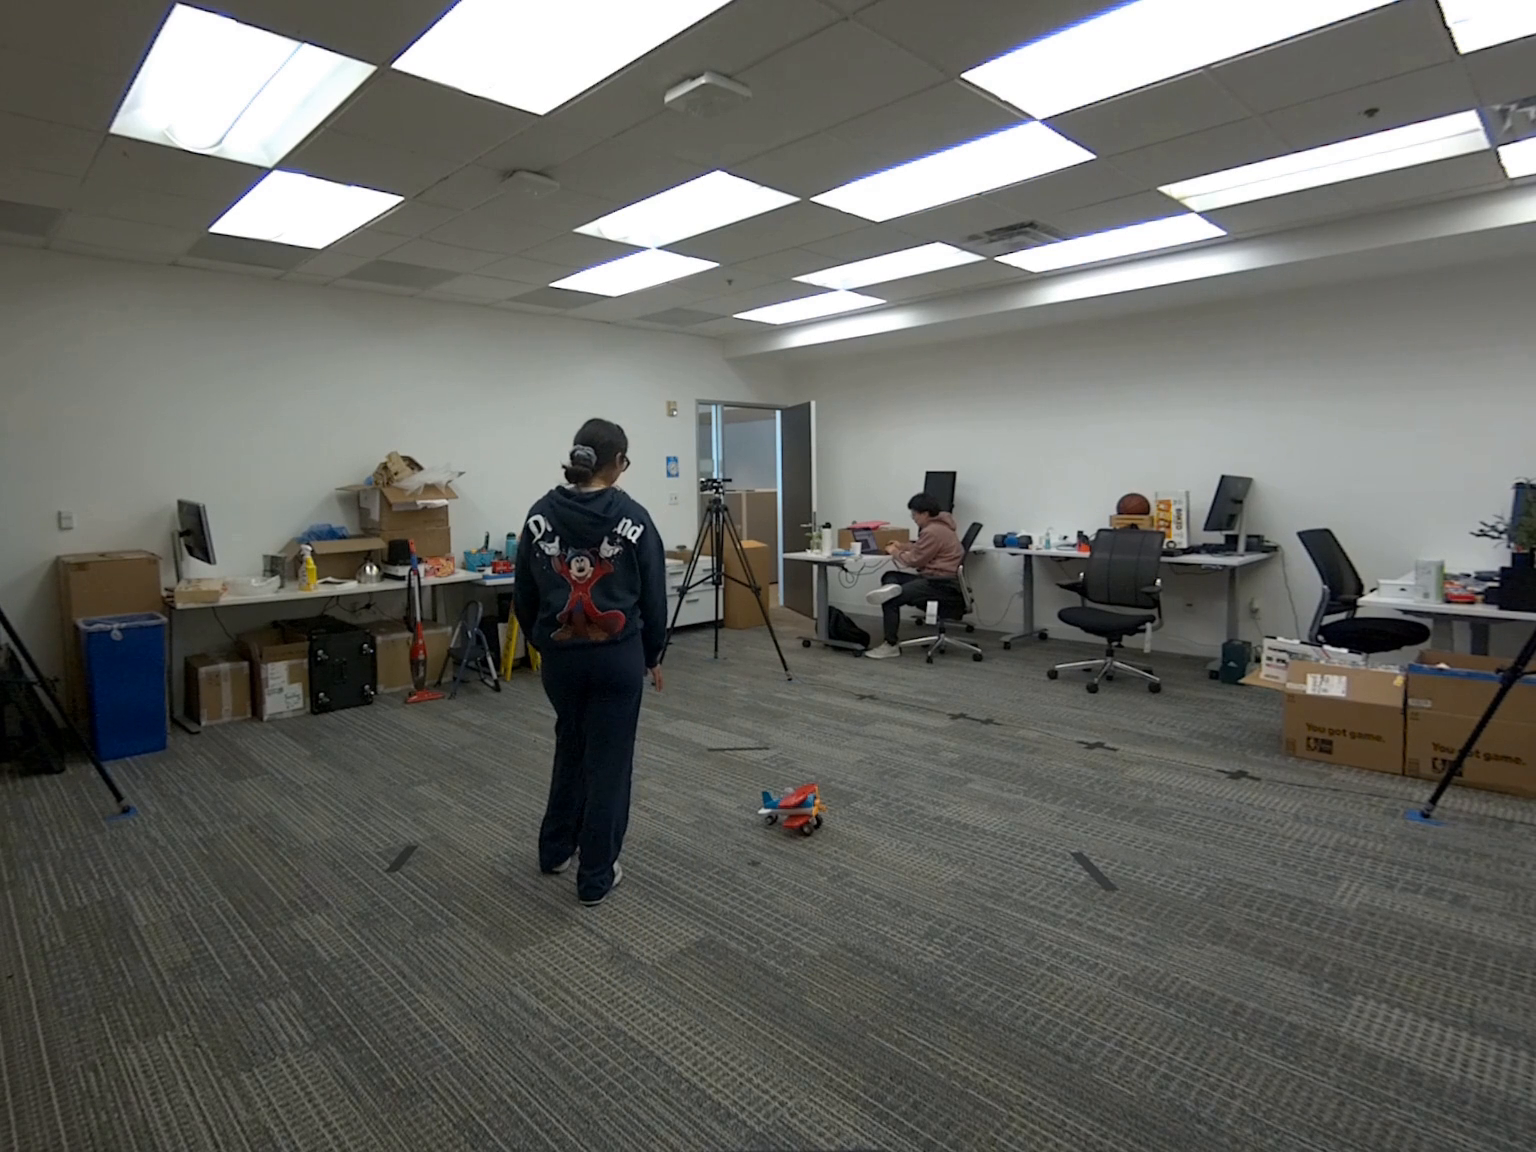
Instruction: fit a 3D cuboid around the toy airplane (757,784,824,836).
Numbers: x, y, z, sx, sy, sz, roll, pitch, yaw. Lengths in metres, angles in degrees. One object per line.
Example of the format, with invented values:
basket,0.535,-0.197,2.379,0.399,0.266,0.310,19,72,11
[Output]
toy airplane,0.094,0.934,3.401,0.259,0.156,0.252,-1,5,-1
